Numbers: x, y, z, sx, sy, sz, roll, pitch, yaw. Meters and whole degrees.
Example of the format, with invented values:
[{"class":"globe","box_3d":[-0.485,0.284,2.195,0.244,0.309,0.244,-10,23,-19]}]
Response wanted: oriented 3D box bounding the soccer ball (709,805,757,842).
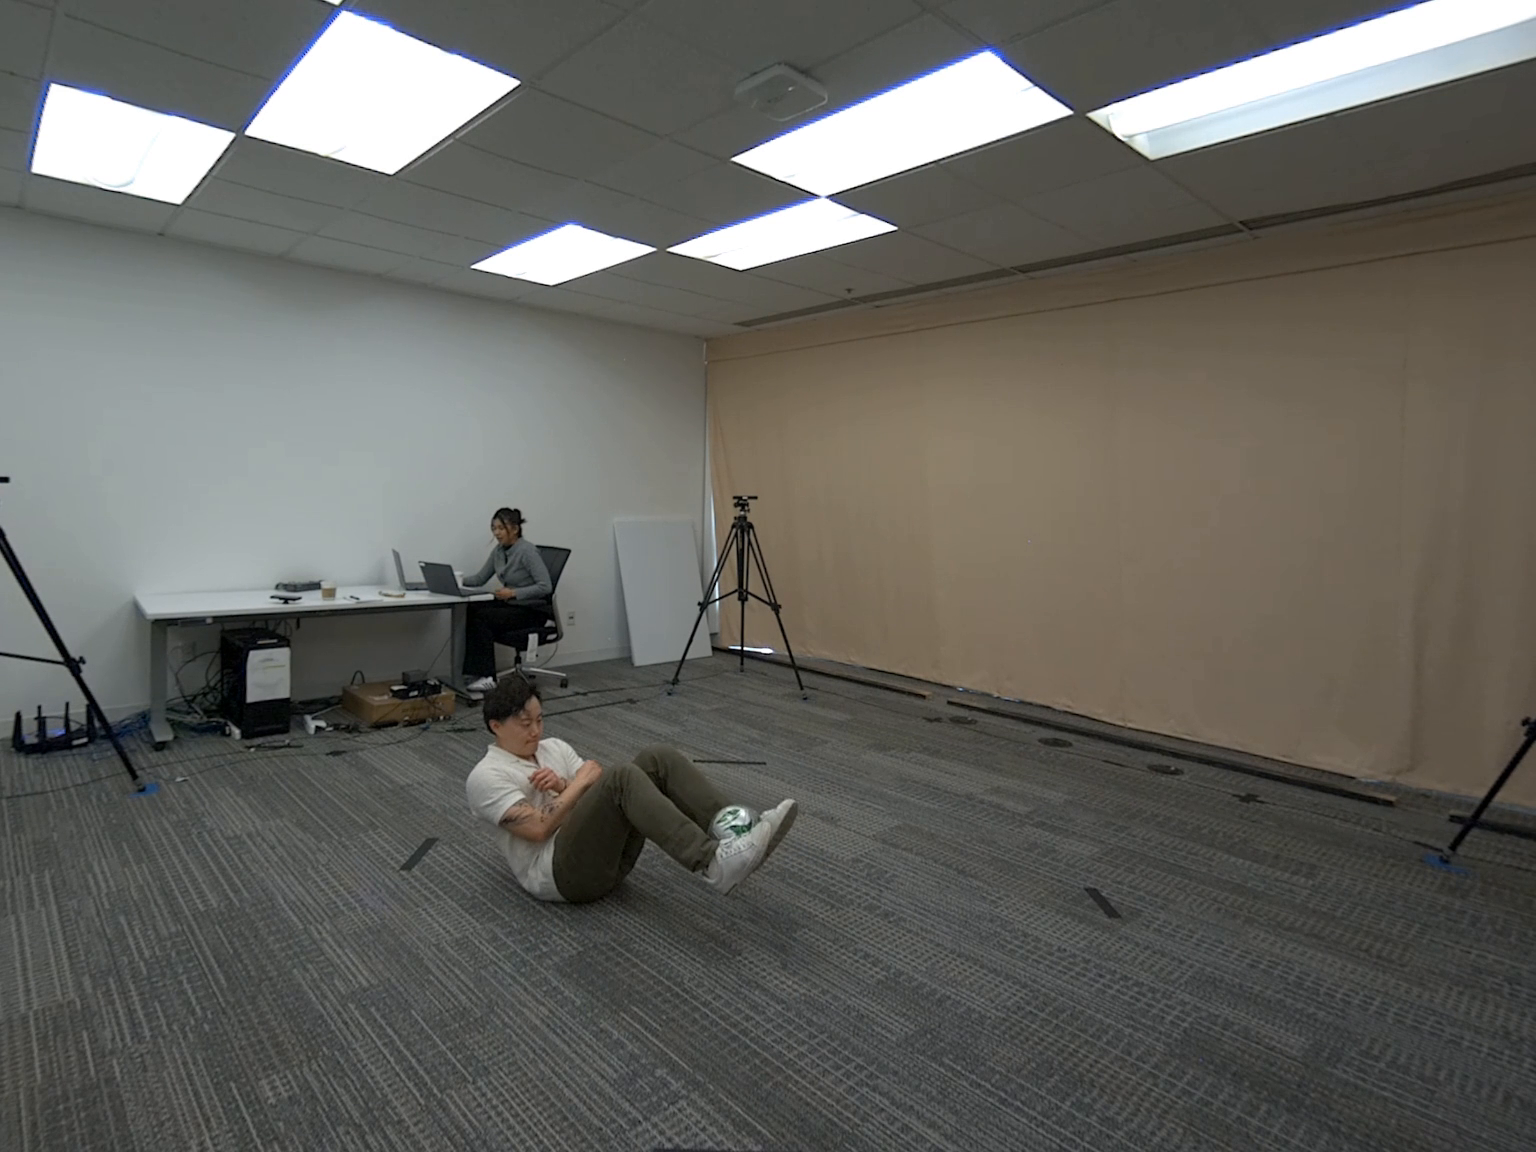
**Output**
[{"class":"soccer ball","box_3d":[-0.113,0.836,2.685,0.187,0.187,0.188,1,4,-1]}]
